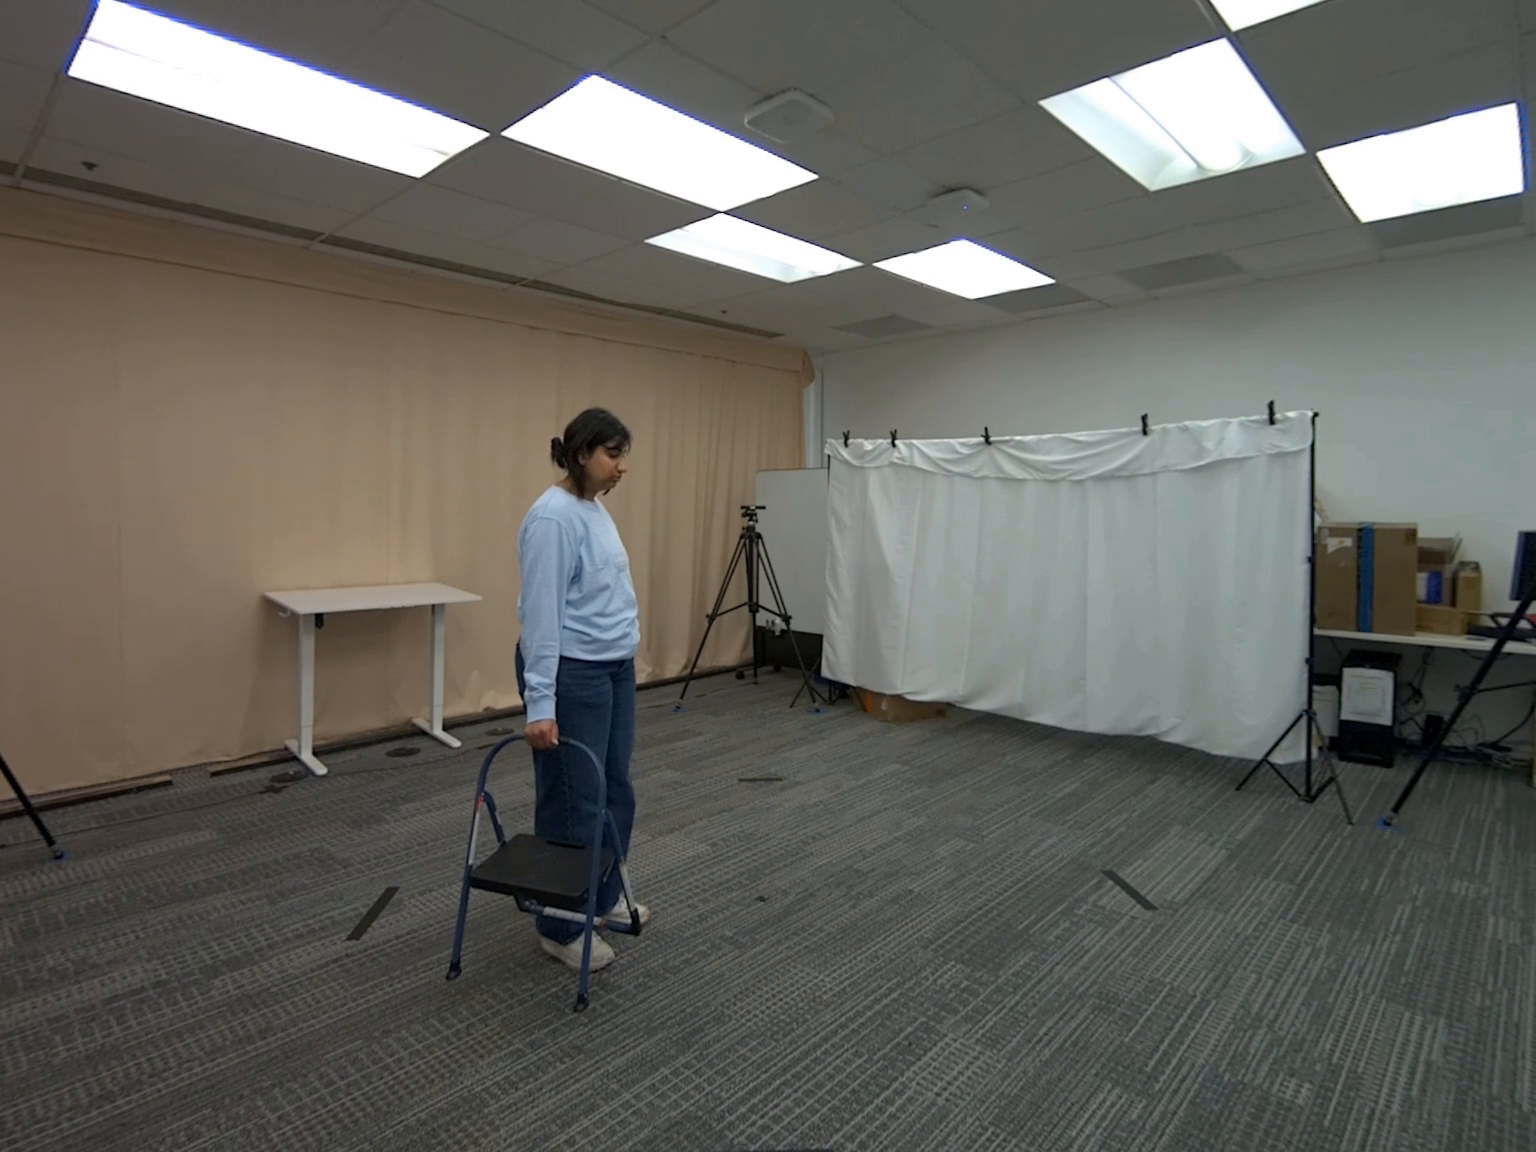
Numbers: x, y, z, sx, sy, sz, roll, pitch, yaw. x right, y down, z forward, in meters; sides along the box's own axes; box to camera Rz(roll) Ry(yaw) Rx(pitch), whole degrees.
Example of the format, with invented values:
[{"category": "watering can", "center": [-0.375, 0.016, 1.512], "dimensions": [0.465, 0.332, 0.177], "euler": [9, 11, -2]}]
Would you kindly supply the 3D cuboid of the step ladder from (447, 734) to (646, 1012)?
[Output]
[{"category": "step ladder", "center": [-0.616, 0.751, 2.283], "dimensions": [0.440, 0.602, 0.344], "euler": [2, 9, 20]}]
